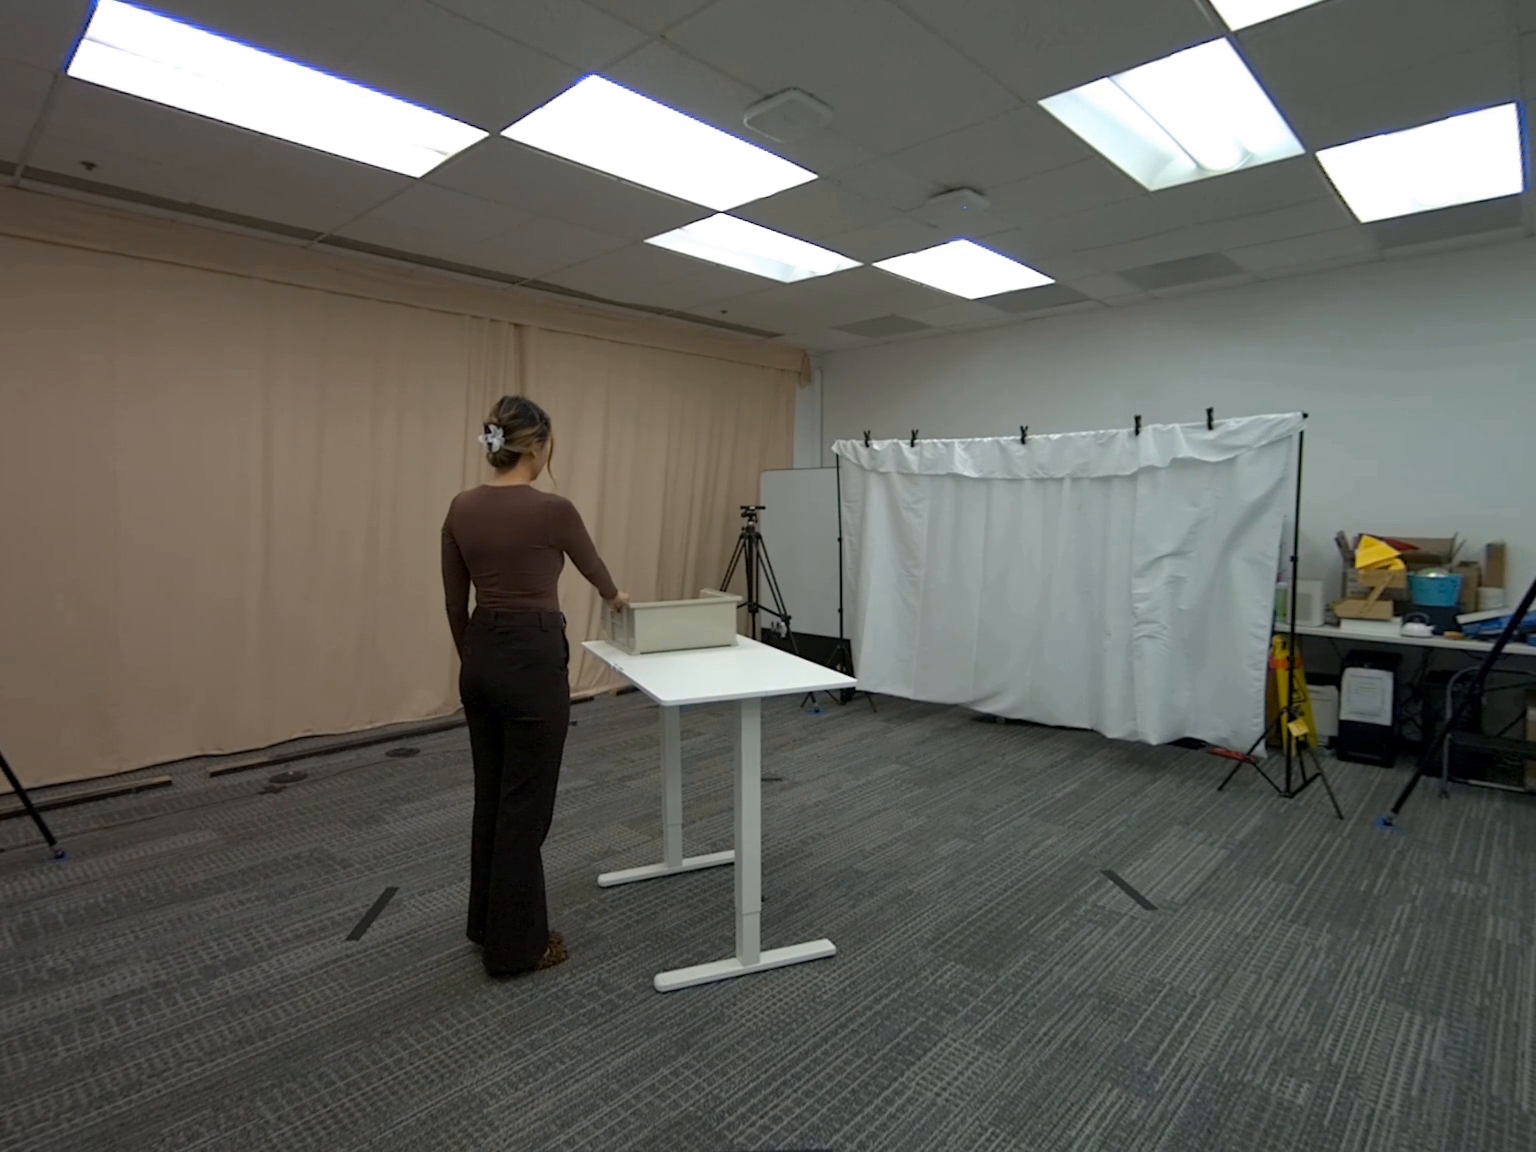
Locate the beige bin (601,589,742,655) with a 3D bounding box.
[{"bbox_3d":[-0.366,0.161,3.112,0.412,0.188,0.388,-3,7,-26],"label":"beige bin"}]
